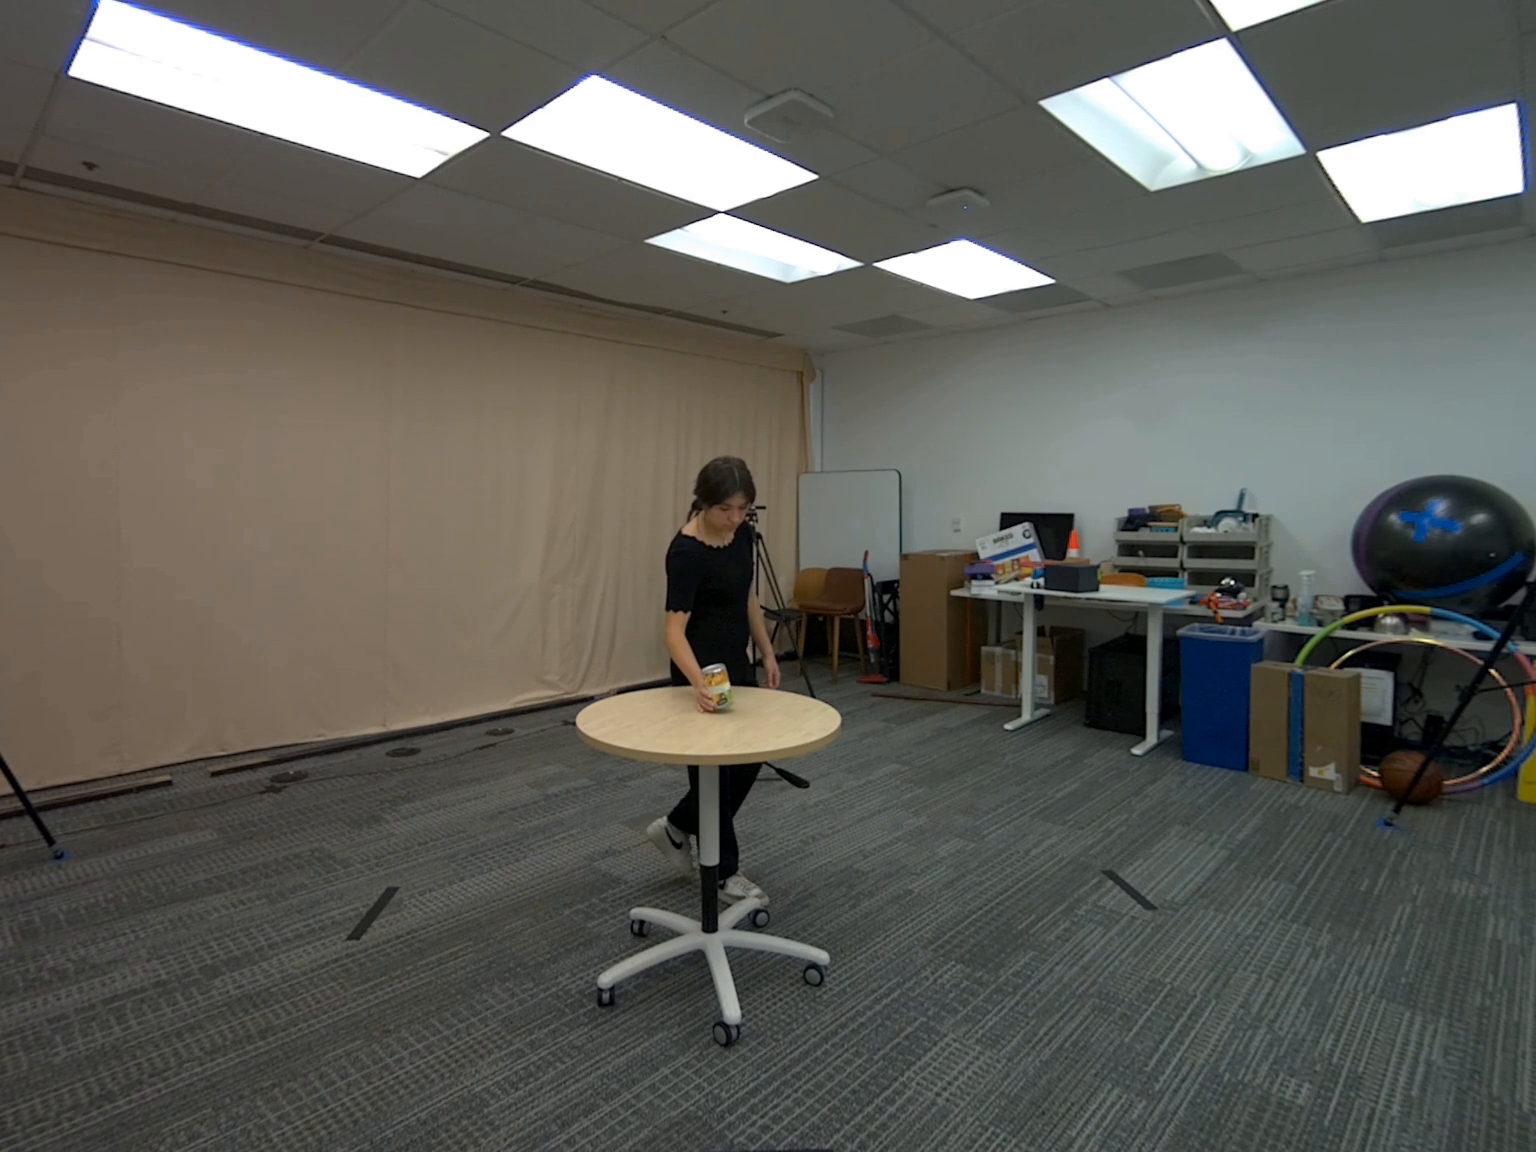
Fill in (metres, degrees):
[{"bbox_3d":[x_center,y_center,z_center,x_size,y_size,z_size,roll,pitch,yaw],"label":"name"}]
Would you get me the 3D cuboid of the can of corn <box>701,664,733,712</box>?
[{"bbox_3d":[-0.152,0.325,2.490,0.074,0.110,0.074,-15,5,0],"label":"can of corn"}]
